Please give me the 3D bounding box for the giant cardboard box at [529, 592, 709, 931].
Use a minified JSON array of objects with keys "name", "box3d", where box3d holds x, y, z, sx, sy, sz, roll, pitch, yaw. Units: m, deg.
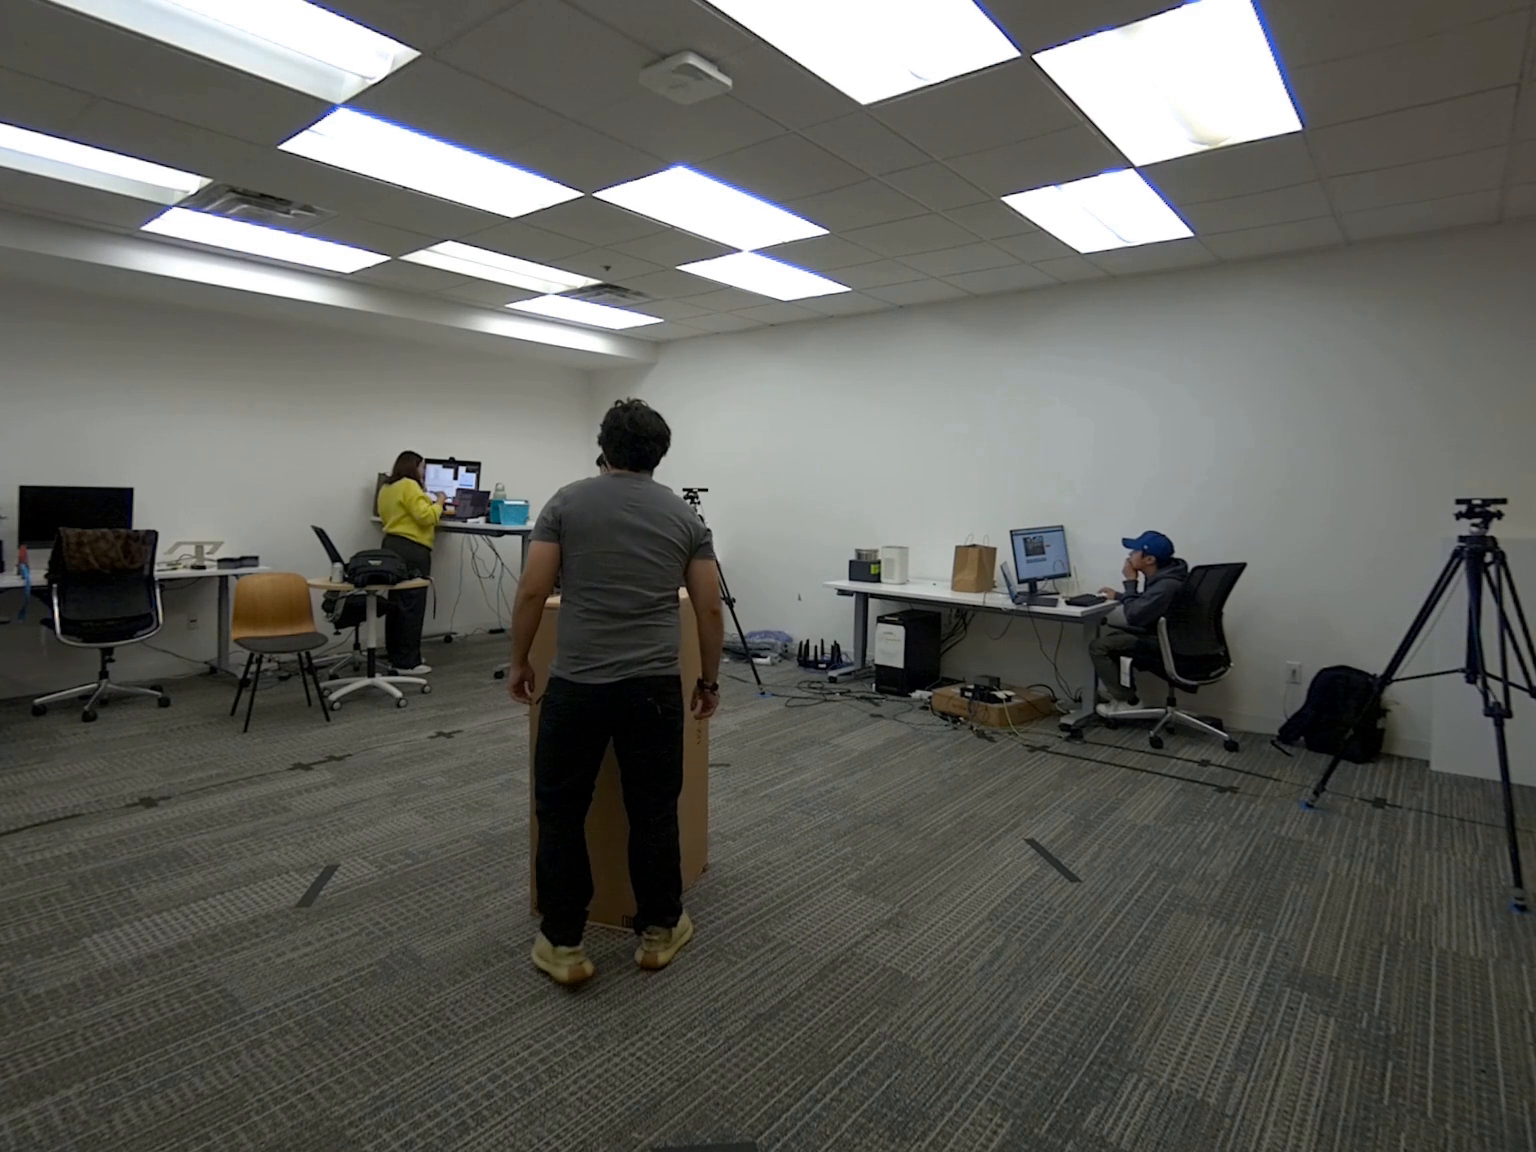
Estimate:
[{"name":"giant cardboard box","box3d":[-0.503,0.575,2.943,0.455,1.024,0.575,2,4,15]}]
